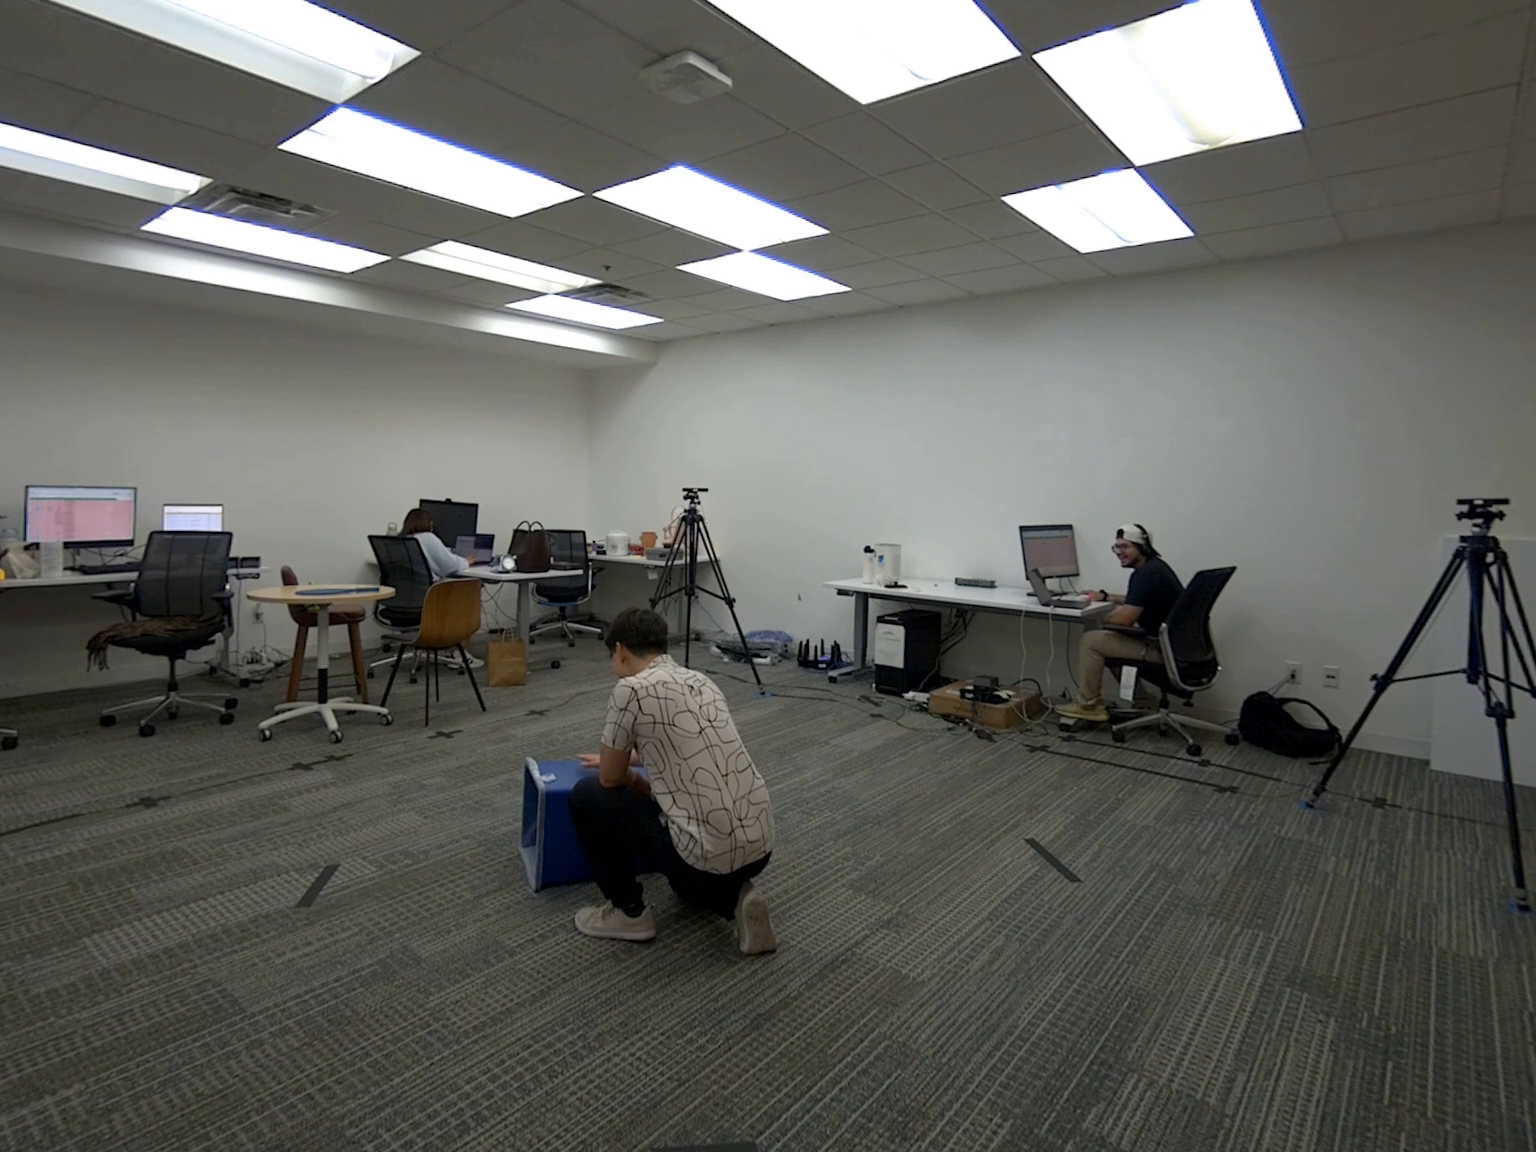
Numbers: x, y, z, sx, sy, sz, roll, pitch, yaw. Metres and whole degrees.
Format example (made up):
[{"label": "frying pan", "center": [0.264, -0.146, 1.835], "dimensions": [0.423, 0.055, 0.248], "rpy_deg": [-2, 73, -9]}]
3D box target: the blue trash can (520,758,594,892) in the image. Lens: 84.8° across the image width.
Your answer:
[{"label": "blue trash can", "center": [-0.545, 0.887, 3.176], "dimensions": [0.698, 0.373, 0.387], "rpy_deg": [3, 4, -22]}]
